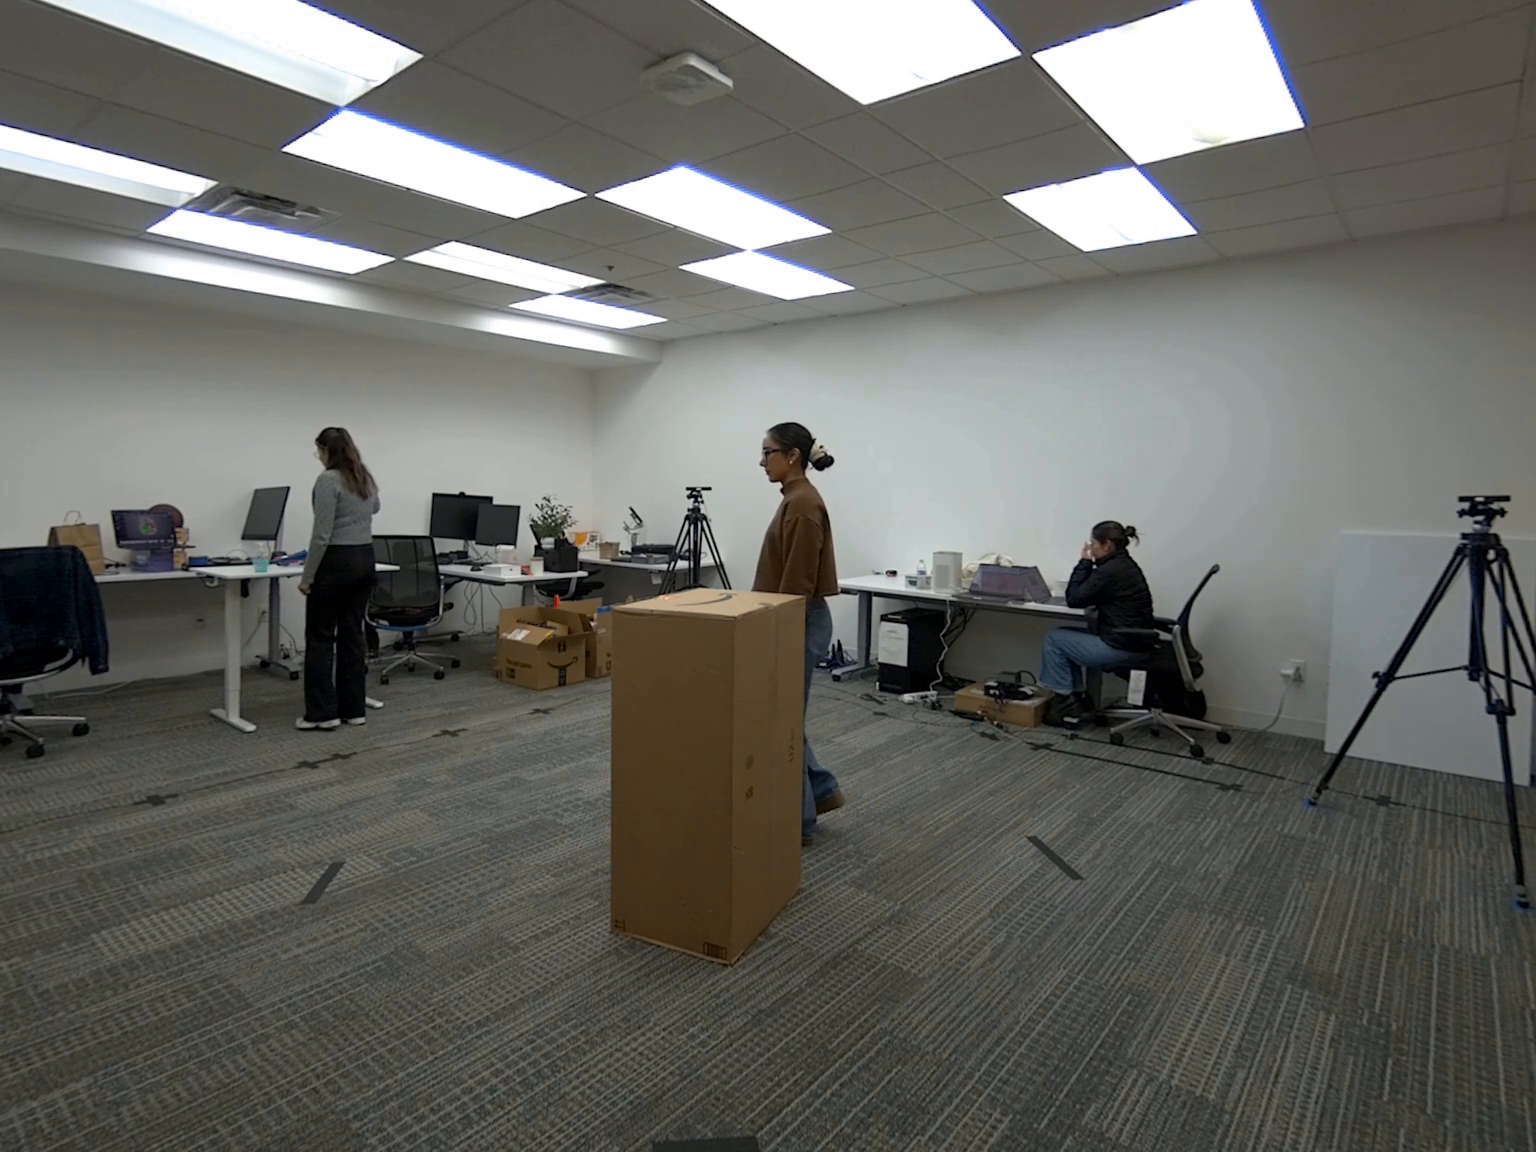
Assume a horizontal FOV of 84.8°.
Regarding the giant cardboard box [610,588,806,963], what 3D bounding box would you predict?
[{"bbox_3d":[-0.196,0.588,2.781,0.437,1.023,0.564,2,3,25],"label":"giant cardboard box"}]
